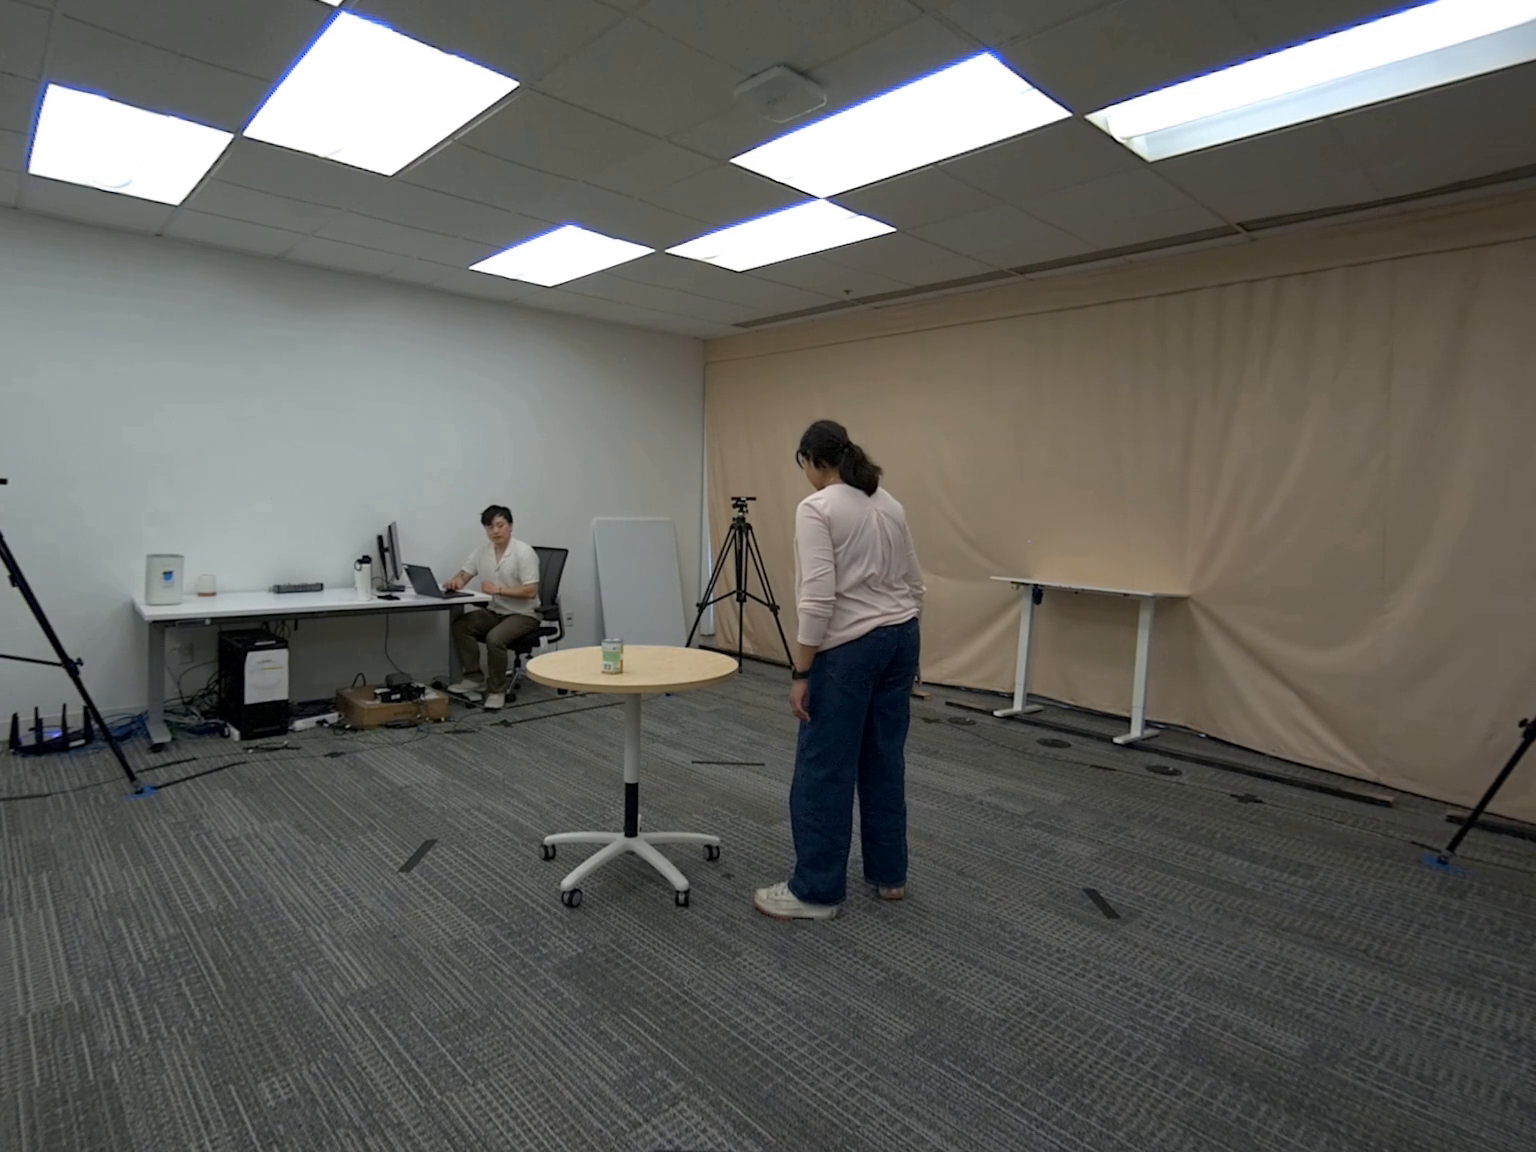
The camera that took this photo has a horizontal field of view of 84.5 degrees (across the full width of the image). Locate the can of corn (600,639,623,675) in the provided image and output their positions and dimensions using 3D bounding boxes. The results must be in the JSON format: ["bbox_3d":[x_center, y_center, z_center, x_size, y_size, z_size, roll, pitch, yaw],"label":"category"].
[{"bbox_3d":[-0.534,0.277,2.888,0.074,0.111,0.074,0,2,-1],"label":"can of corn"}]
